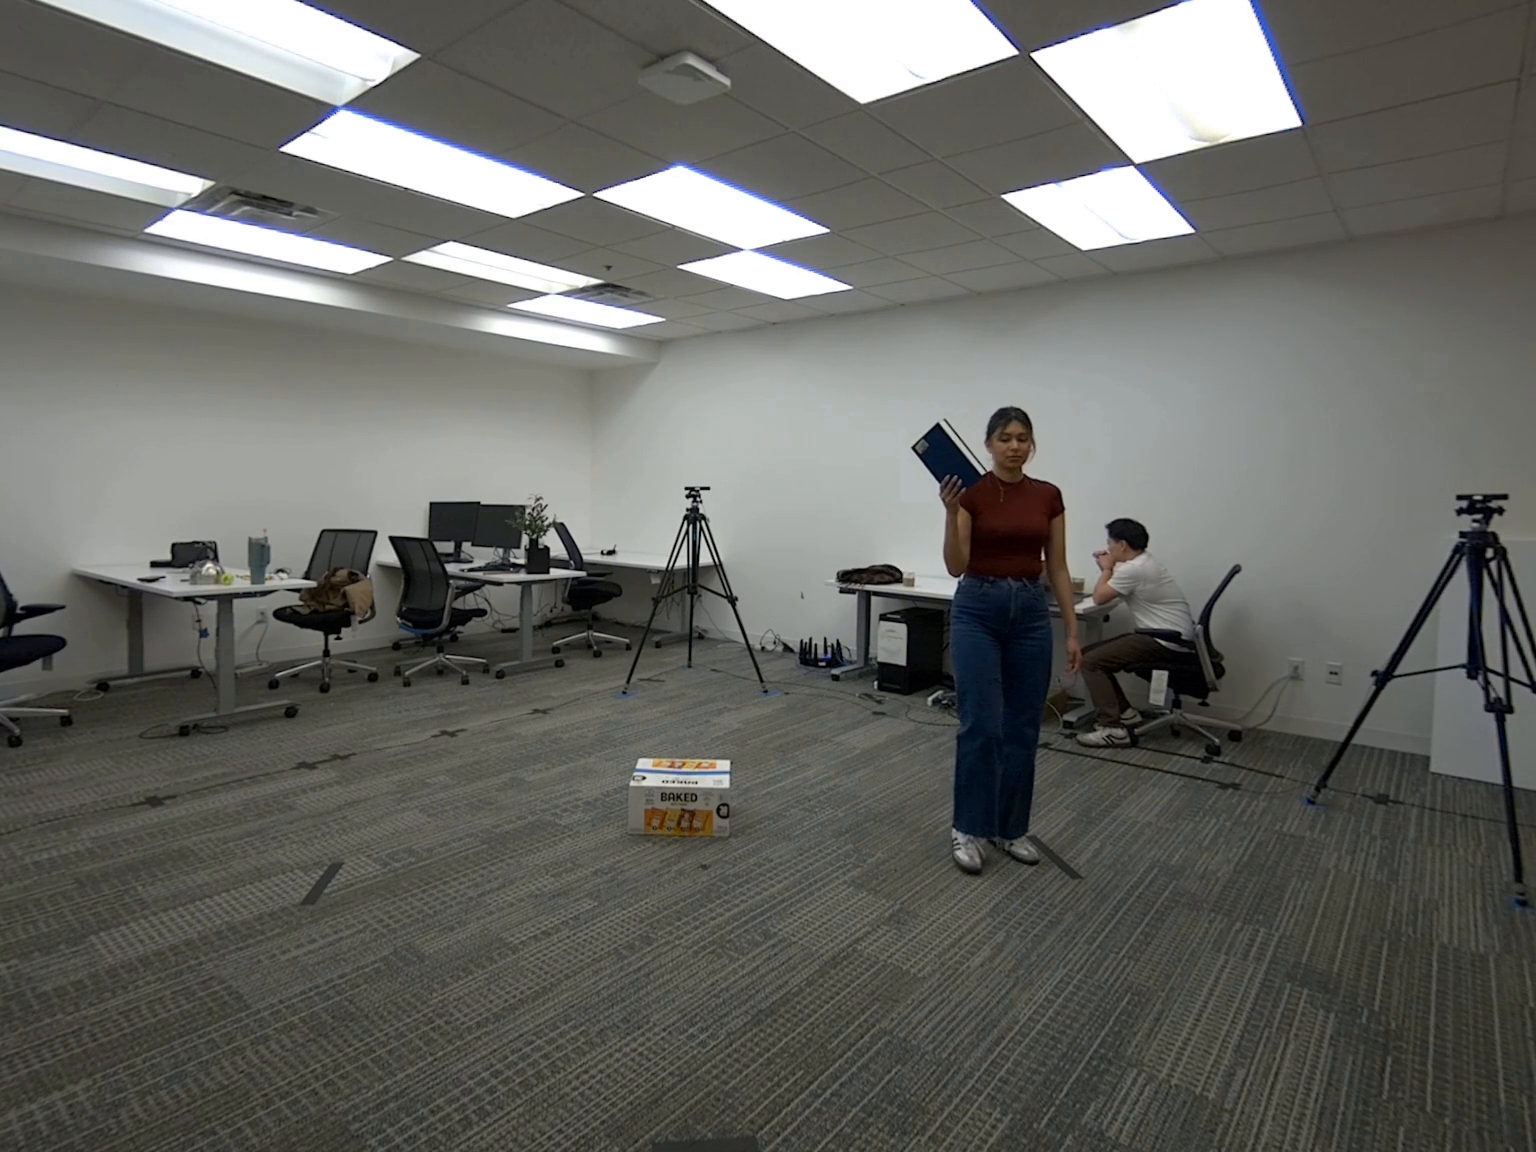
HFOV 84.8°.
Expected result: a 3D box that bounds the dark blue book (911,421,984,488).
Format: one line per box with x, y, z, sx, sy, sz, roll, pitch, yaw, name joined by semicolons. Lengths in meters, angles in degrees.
0.633;-0.417;3.022;0.044;0.248;0.163;-29;-12;-40;dark blue book
